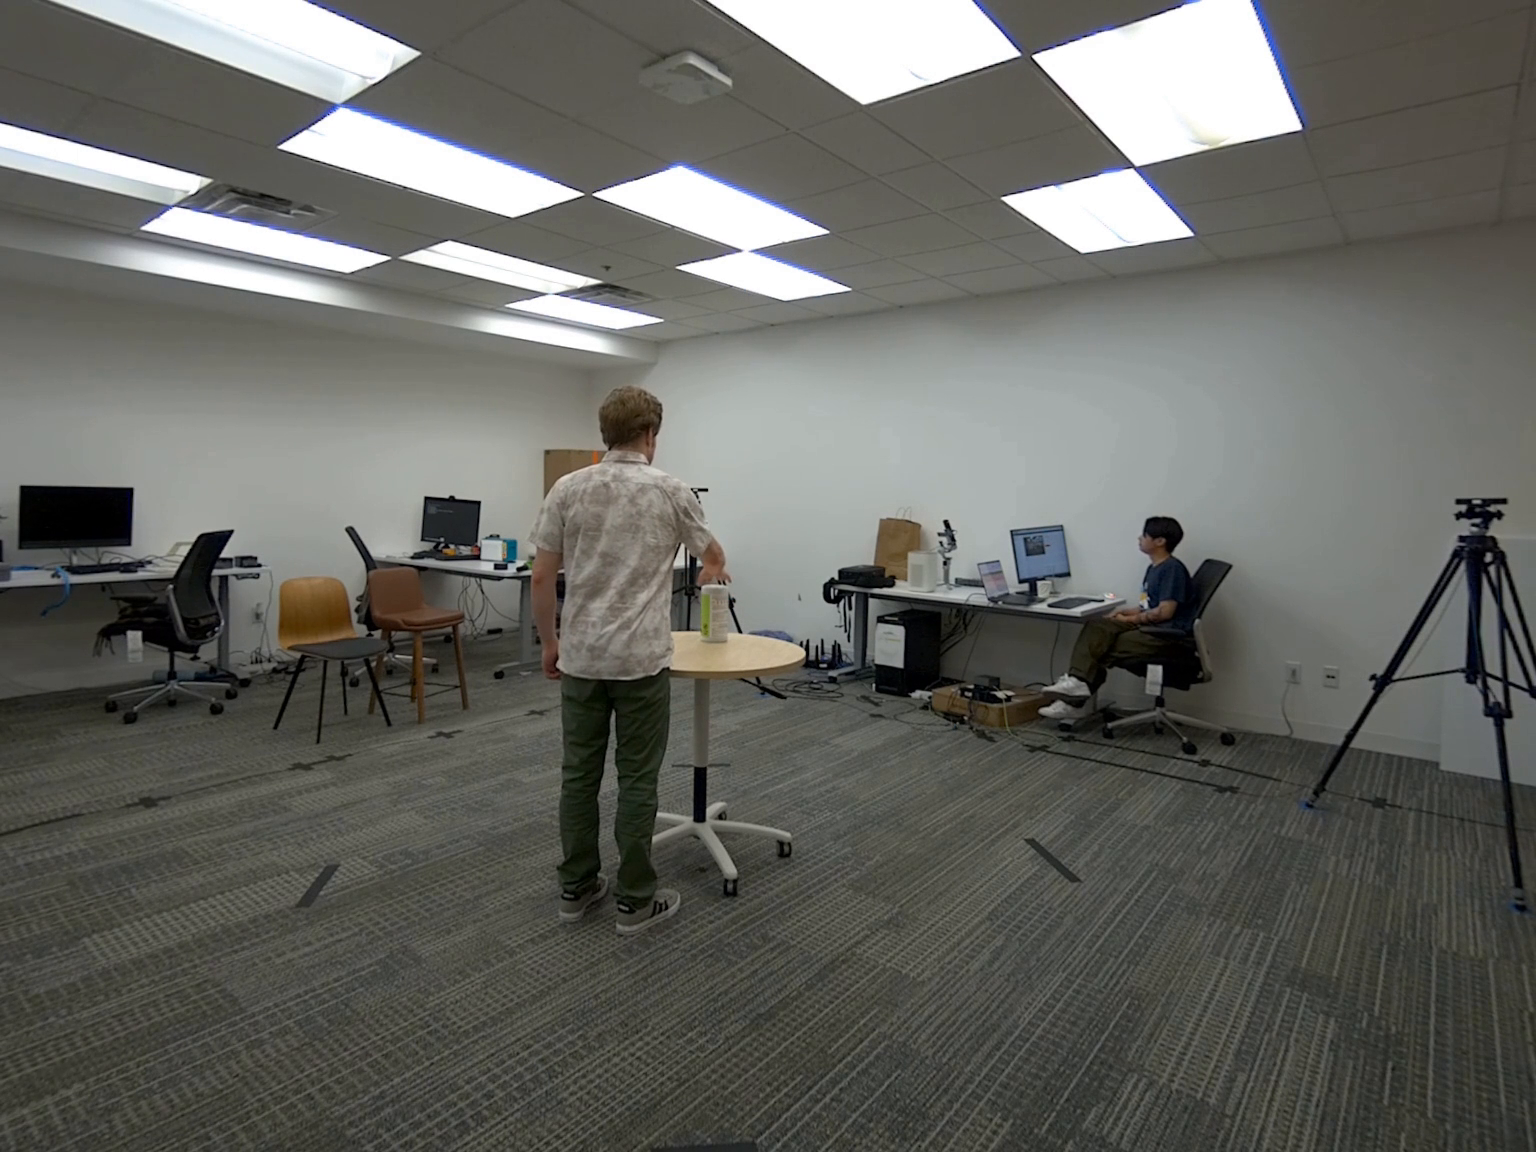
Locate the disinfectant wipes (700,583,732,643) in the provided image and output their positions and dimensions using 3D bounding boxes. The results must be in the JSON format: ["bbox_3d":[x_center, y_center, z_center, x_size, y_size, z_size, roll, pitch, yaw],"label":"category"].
[{"bbox_3d":[-0.217,0.143,3.352,0.117,0.216,0.118,2,5,-2],"label":"disinfectant wipes"}]
